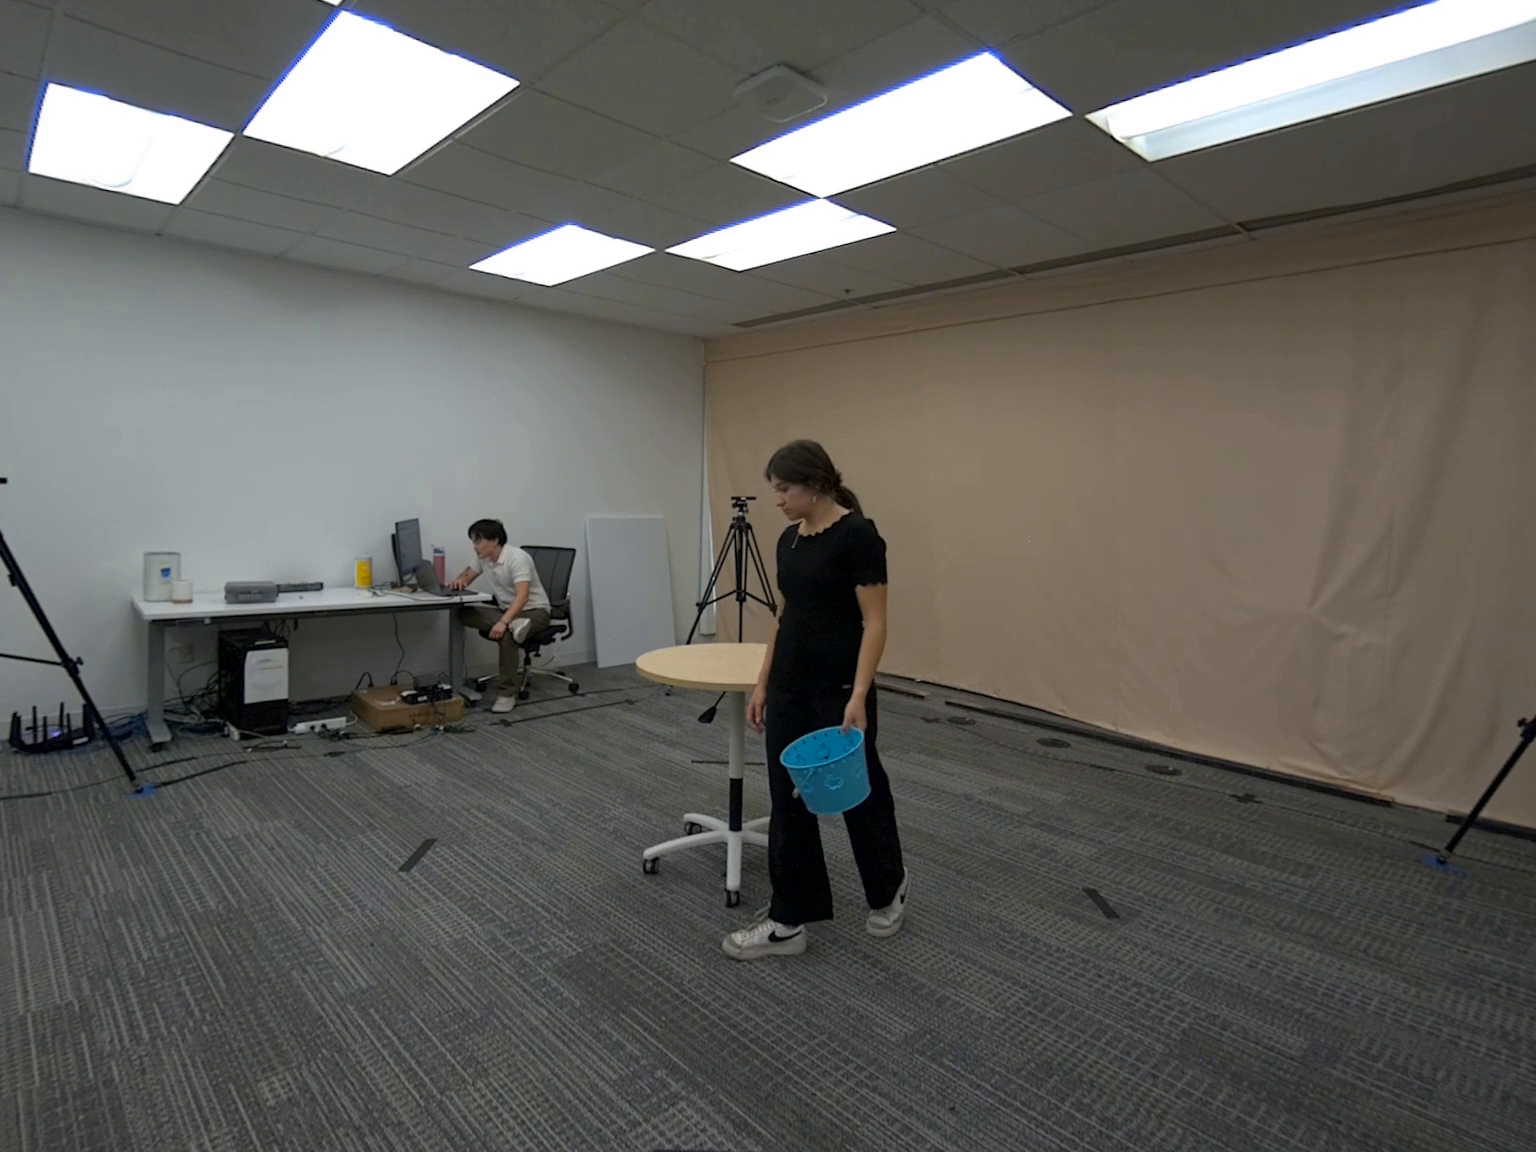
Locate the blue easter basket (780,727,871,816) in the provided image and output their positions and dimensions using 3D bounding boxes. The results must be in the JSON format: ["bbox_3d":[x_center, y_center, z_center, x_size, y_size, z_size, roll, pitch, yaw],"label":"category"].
[{"bbox_3d":[0.157,0.531,2.276,0.244,0.154,0.245,-17,9,1],"label":"blue easter basket"}]
